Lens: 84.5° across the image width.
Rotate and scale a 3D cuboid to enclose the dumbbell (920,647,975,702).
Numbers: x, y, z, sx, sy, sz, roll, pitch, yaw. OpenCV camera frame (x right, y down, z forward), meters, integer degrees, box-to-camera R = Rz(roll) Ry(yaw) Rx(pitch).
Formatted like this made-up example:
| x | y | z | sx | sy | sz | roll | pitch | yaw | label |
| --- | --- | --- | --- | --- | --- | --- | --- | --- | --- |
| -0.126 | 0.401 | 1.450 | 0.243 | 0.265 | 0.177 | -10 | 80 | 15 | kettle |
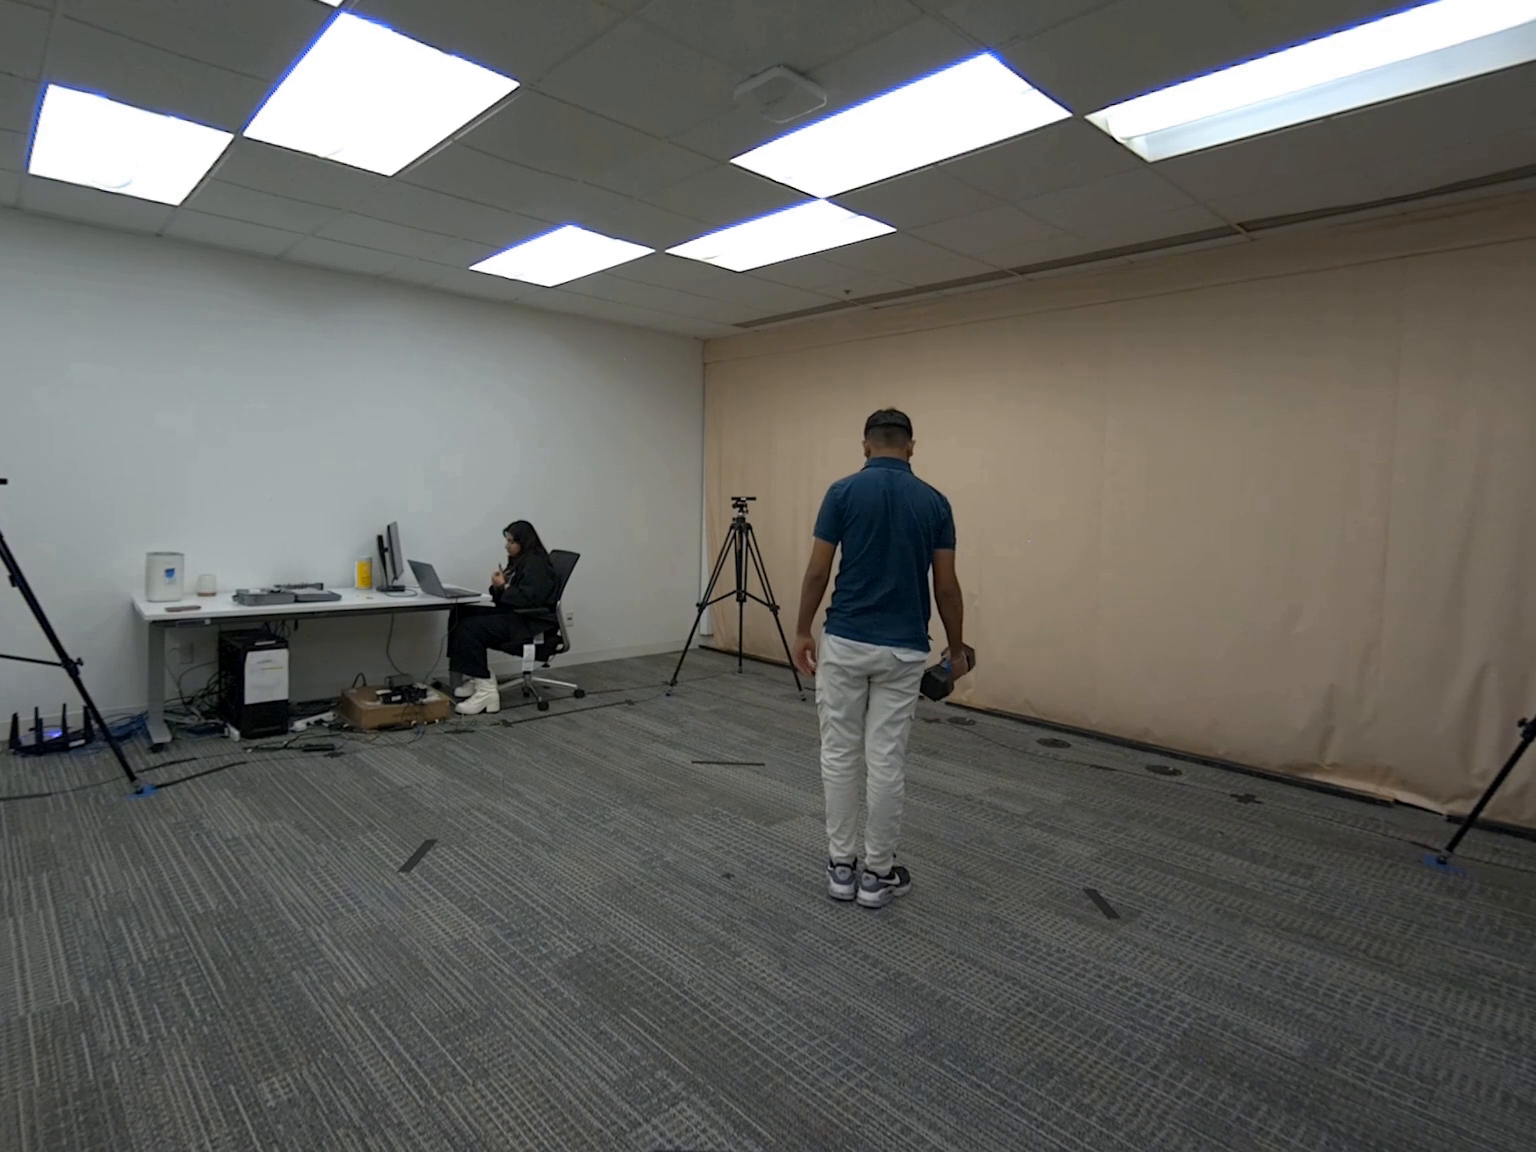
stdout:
| x | y | z | sx | sy | sz | roll | pitch | yaw | label |
| --- | --- | --- | --- | --- | --- | --- | --- | --- | --- |
| 0.644 | 0.339 | 3.030 | 0.124 | 0.109 | 0.291 | -36 | -3 | 40 | dumbbell |
